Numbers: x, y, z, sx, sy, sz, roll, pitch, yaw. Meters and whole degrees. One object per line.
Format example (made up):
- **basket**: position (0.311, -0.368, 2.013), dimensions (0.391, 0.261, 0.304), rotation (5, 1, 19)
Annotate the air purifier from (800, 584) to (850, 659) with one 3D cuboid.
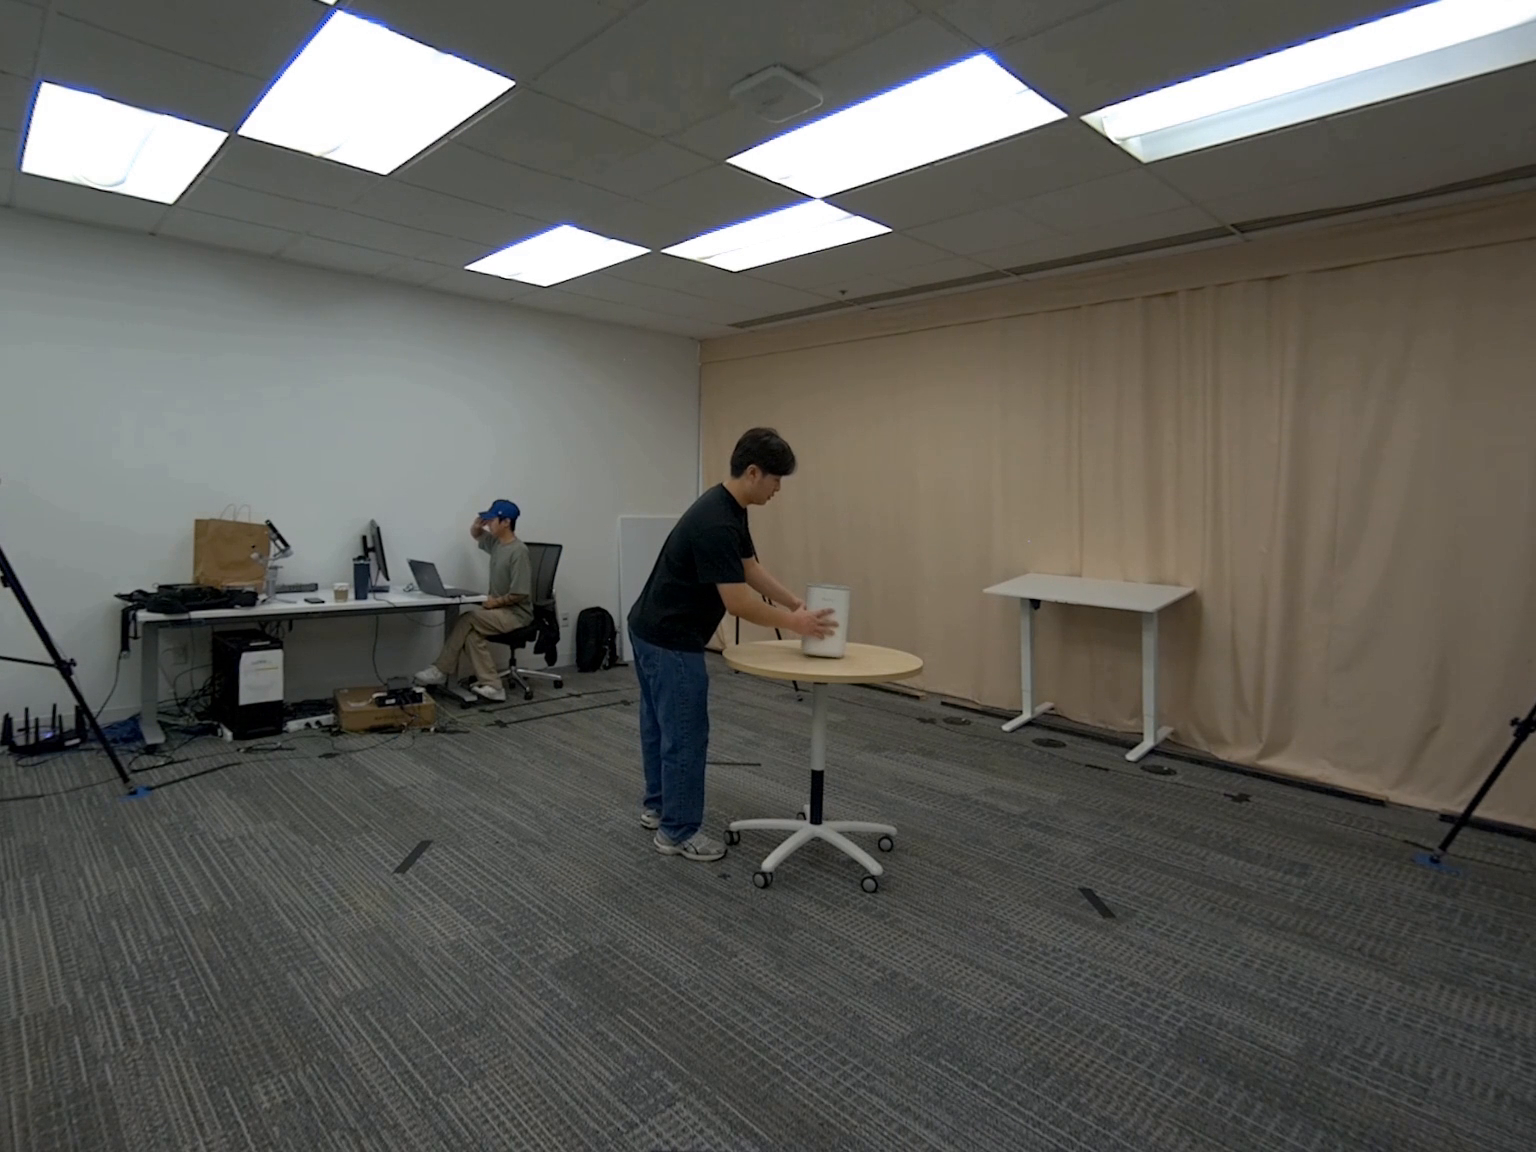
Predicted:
- **air purifier**: position (0.212, 0.168, 3.249), dimensions (0.172, 0.265, 0.171), rotation (6, 0, 4)
